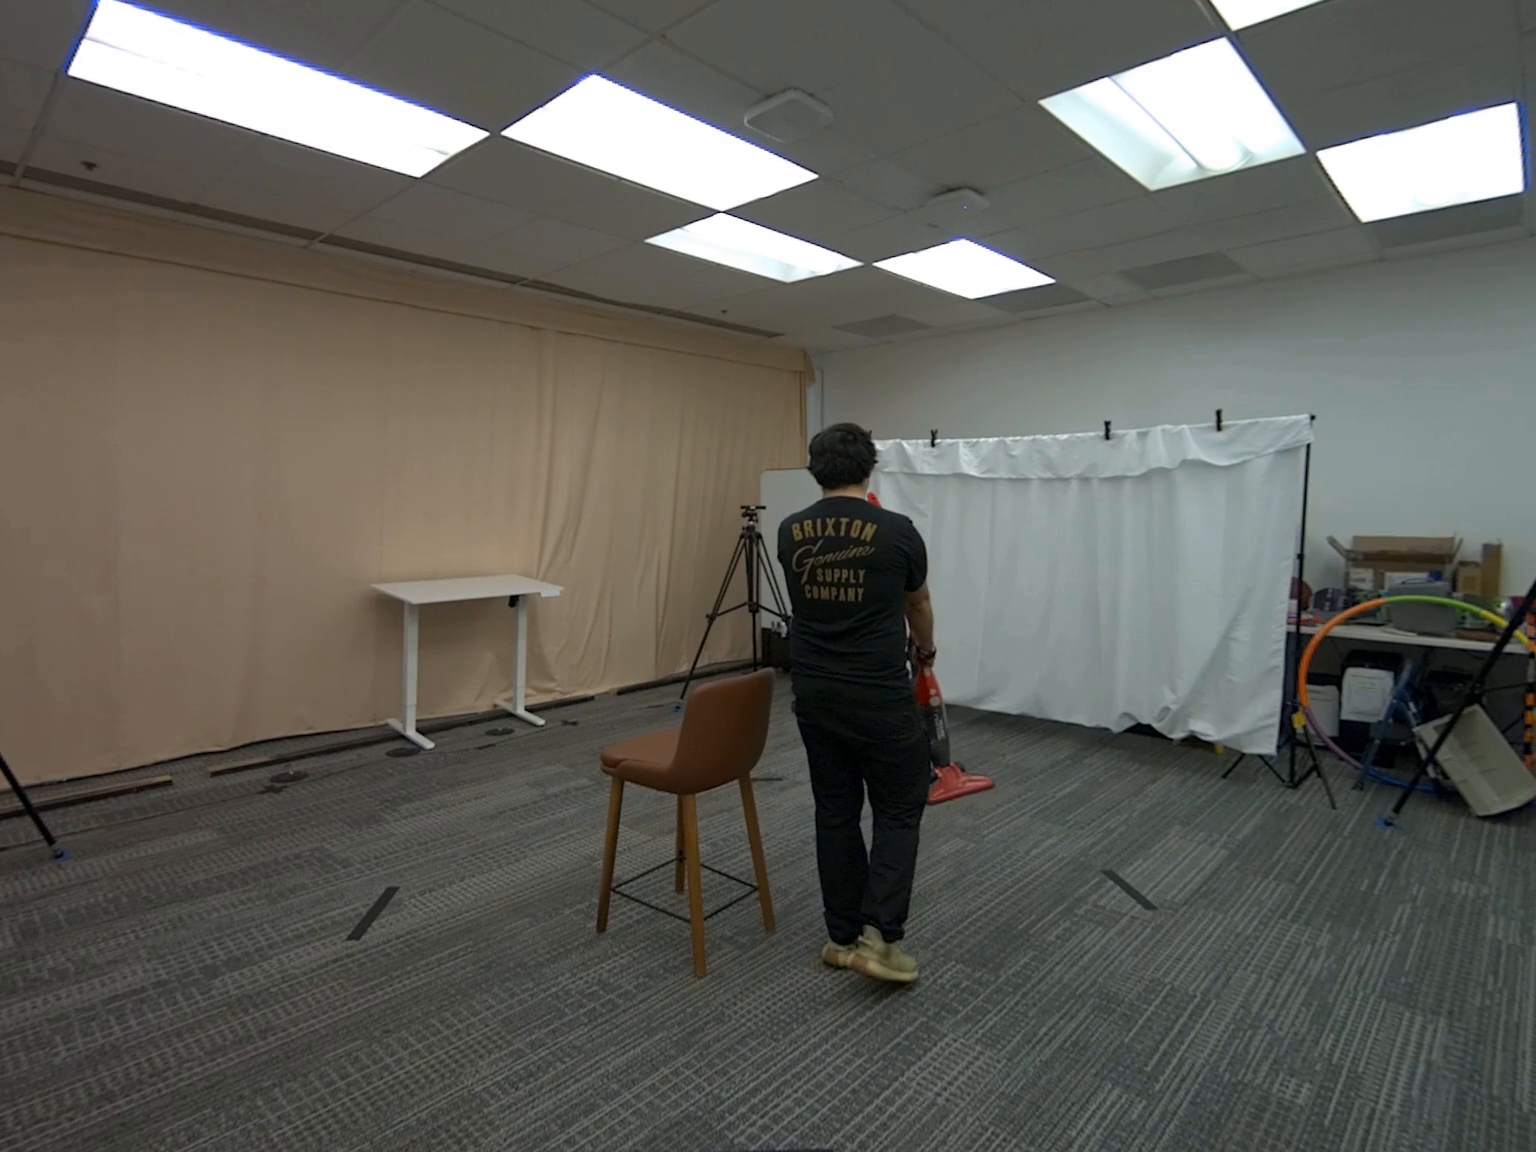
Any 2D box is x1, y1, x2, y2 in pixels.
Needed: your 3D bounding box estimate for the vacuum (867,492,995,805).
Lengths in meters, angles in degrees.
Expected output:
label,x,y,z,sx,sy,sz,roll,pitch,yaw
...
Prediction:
label,x,y,z,sx,sy,sz,roll,pitch,yaw
vacuum,0.527,0.216,2.990,0.251,1.058,0.143,-11,-10,-4
